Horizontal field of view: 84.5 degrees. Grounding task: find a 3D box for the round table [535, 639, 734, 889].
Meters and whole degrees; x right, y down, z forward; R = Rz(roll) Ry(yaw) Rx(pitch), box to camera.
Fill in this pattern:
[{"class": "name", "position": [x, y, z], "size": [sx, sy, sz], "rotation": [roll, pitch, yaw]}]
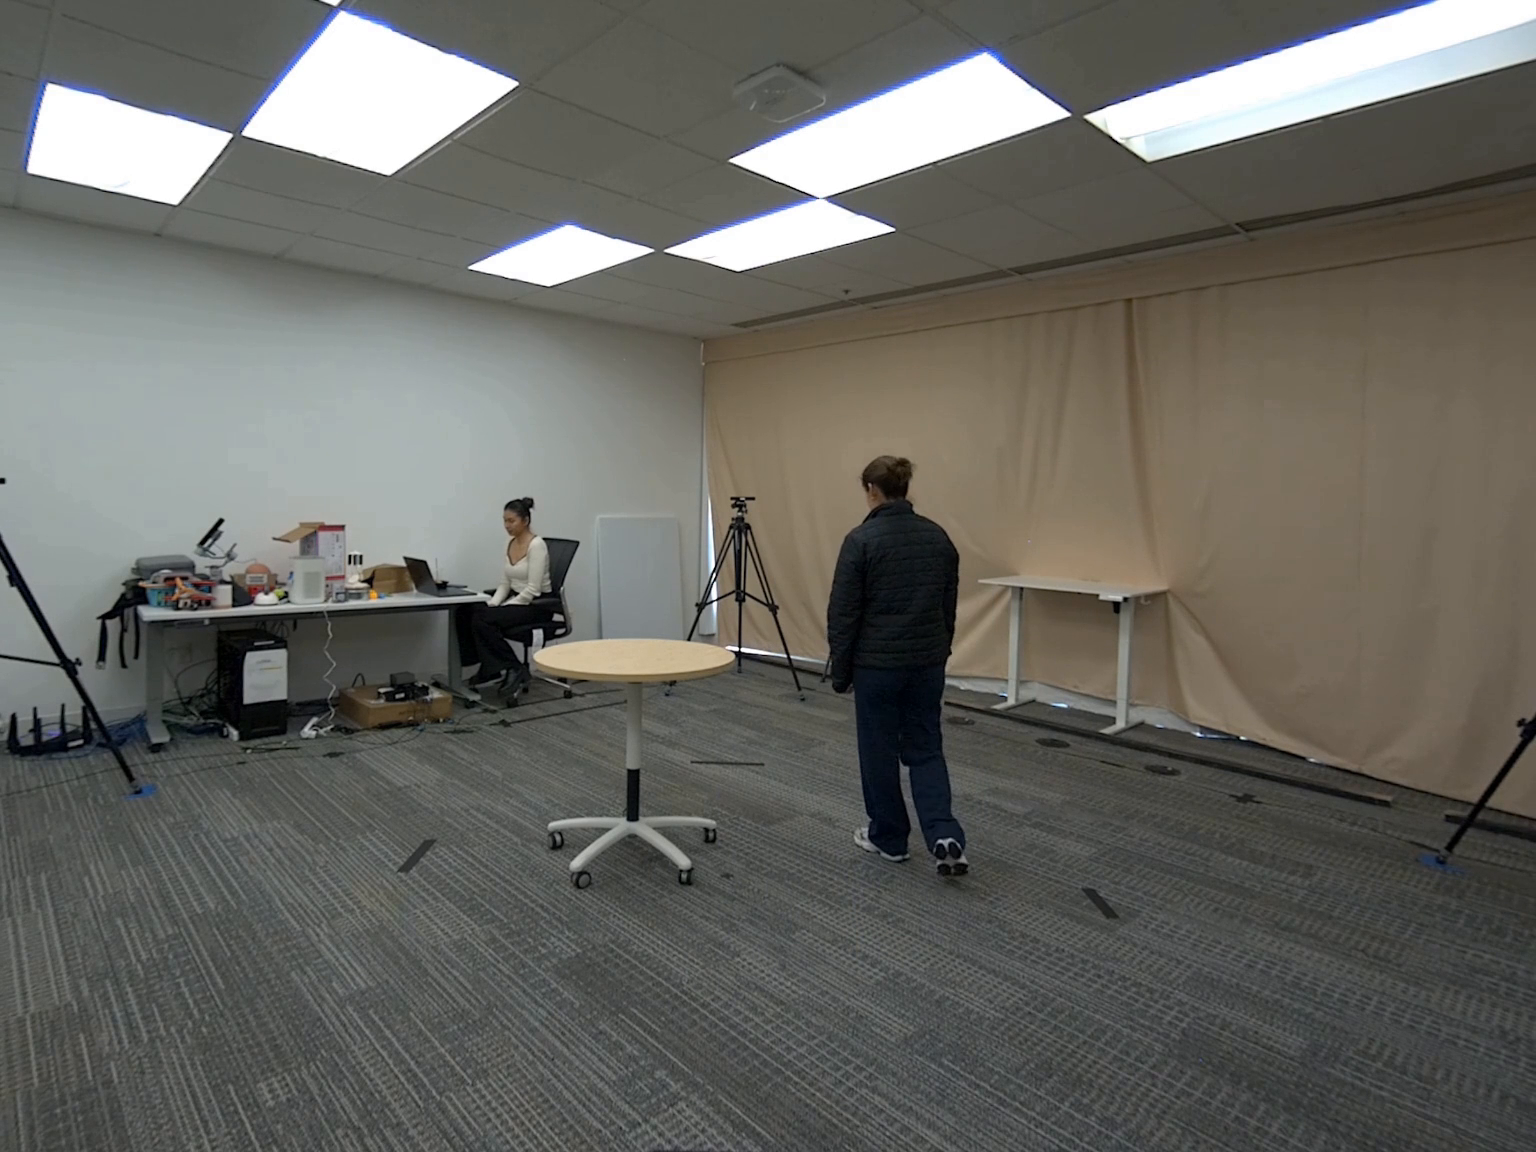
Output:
[{"class": "round table", "position": [-0.514, 0.694, 3.215], "size": [0.784, 0.785, 0.787], "rotation": [1, 4, -1]}]
